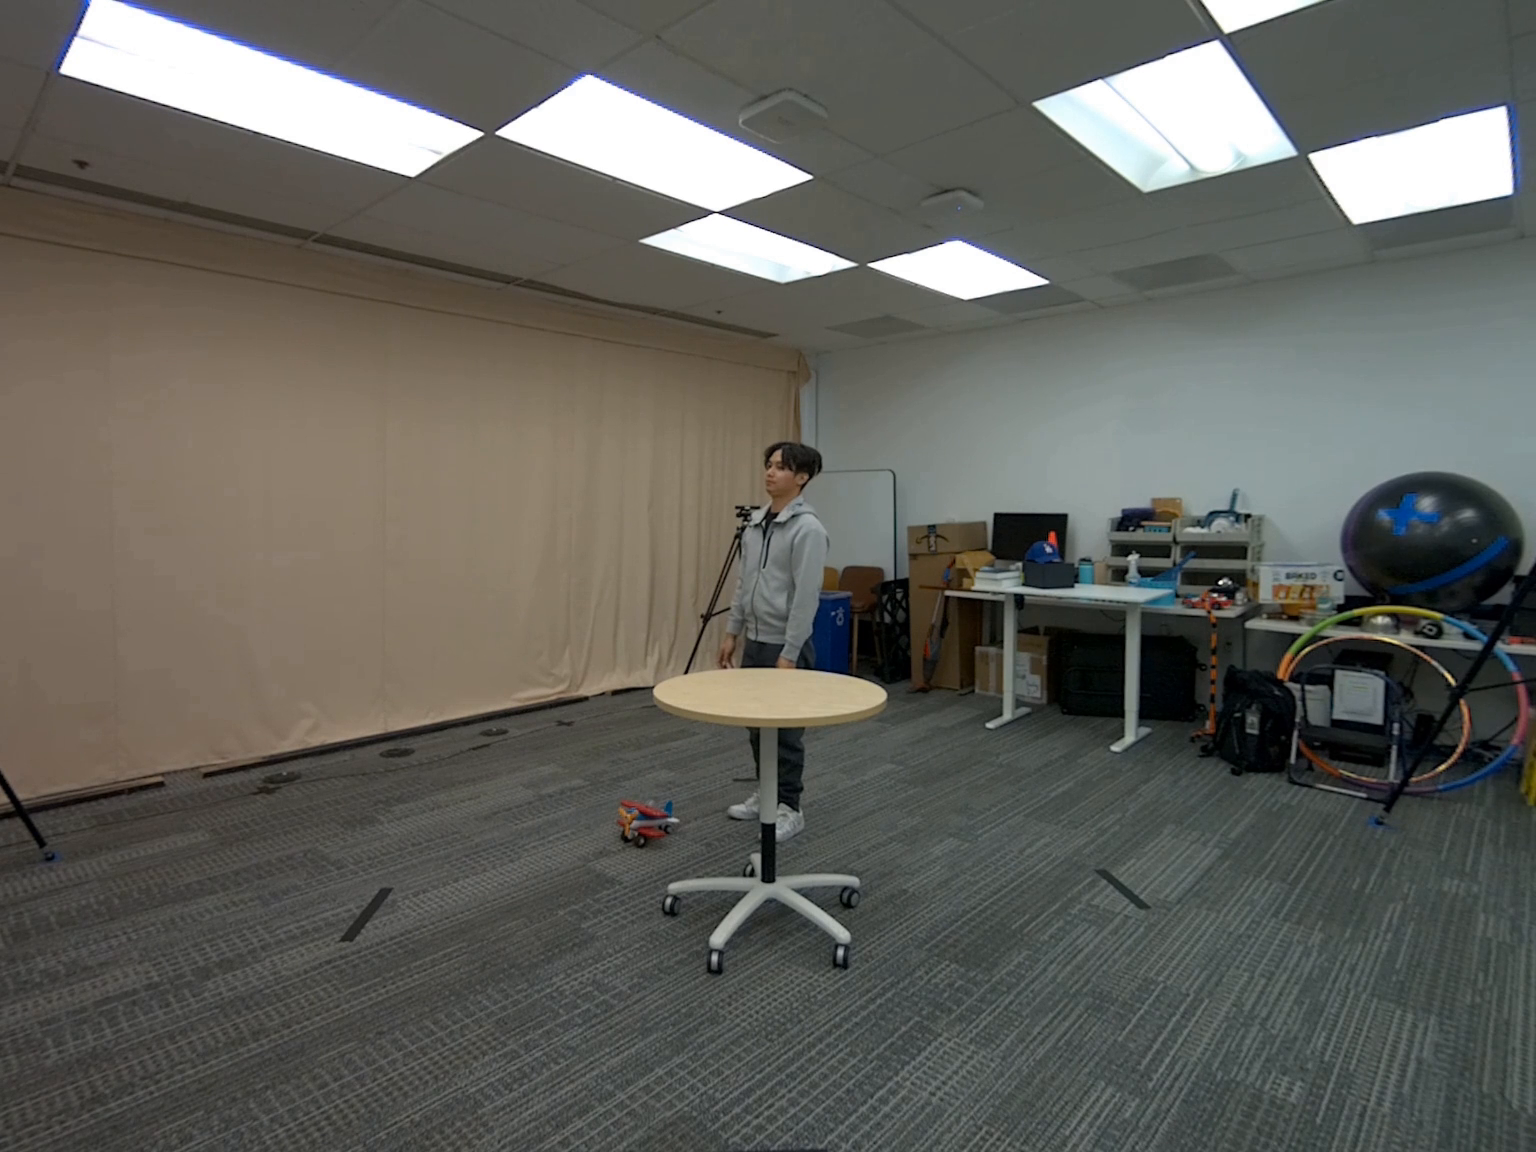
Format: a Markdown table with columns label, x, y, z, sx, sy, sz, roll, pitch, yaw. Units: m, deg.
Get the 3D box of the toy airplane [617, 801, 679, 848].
| label | x | y | z | sx | sy | sz | roll | pitch | yaw |
| --- | --- | --- | --- | --- | --- | --- | --- | --- | --- |
| toy airplane | -0.520 | 1.027 | 3.542 | 0.255 | 0.156 | 0.256 | 0 | 5 | 14 |
